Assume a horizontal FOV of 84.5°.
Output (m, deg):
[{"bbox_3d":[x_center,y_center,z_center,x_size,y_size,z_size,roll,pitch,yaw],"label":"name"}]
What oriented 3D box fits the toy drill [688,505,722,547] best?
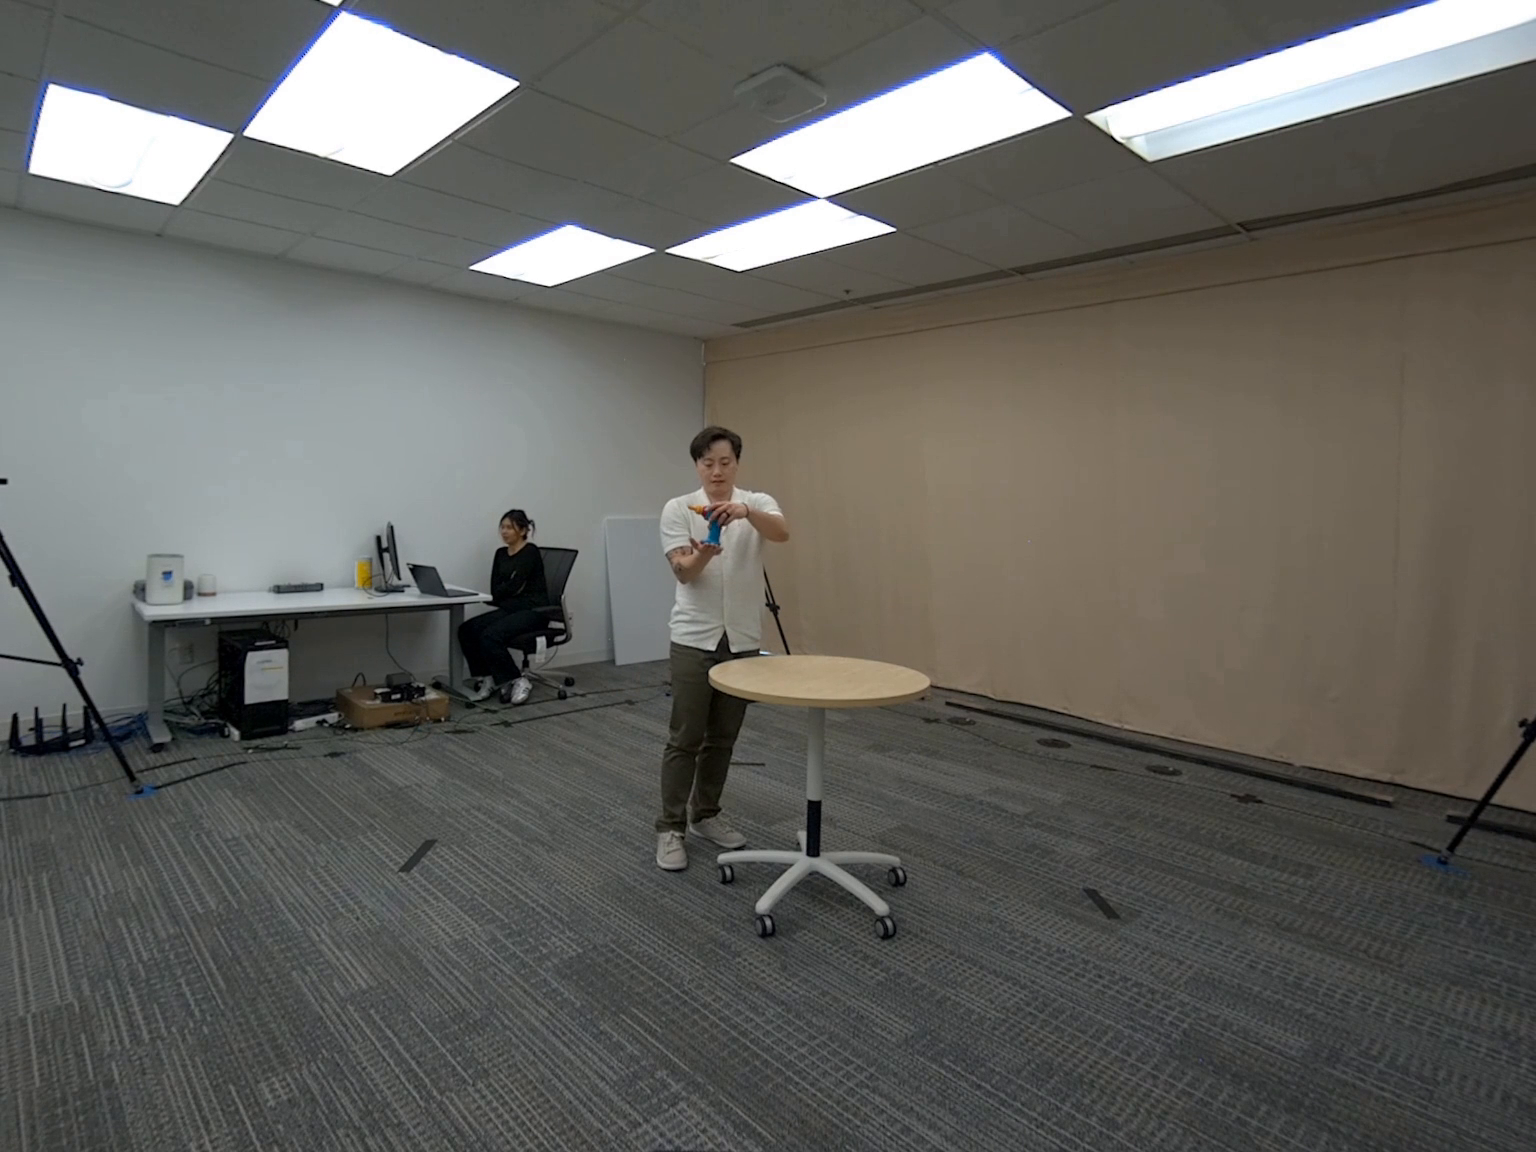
[{"bbox_3d":[-0.227,-0.183,2.970,0.167,0.146,0.062,14,-2,-20],"label":"toy drill"}]
